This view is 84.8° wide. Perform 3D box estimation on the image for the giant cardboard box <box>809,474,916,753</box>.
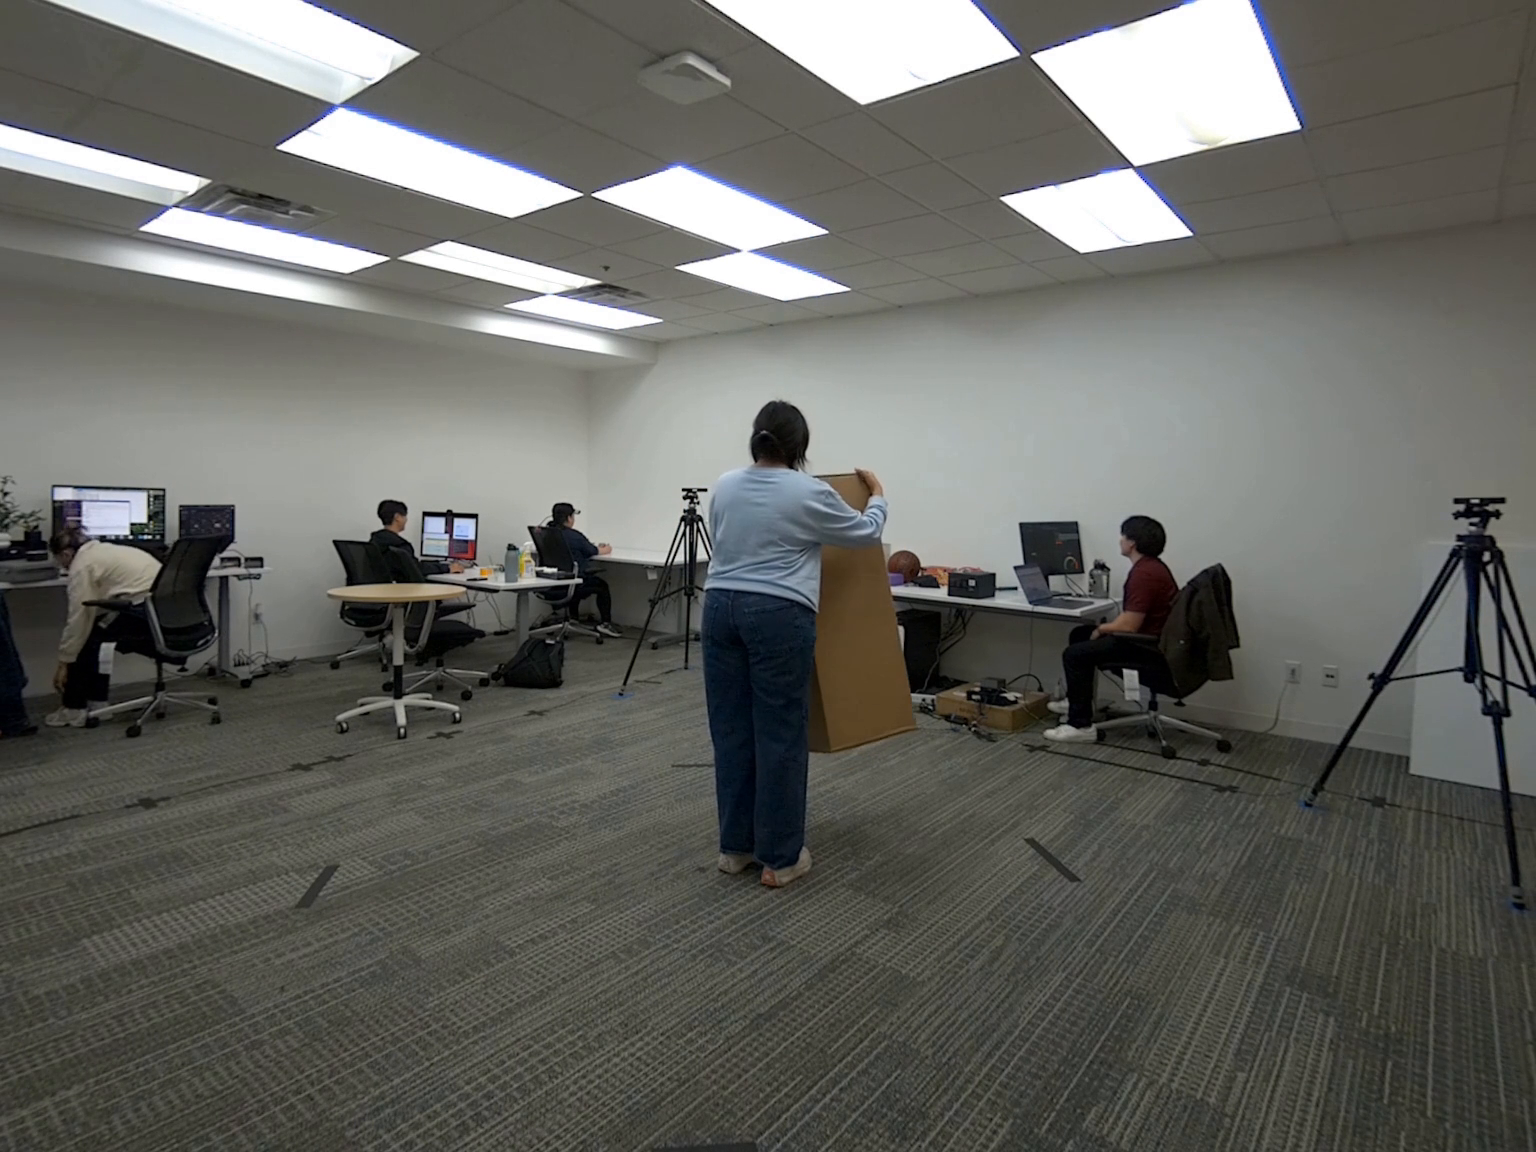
[{"bbox_3d":[0.160,0.146,3.473,0.436,1.034,0.595,-7,-6,-31],"label":"giant cardboard box"}]
